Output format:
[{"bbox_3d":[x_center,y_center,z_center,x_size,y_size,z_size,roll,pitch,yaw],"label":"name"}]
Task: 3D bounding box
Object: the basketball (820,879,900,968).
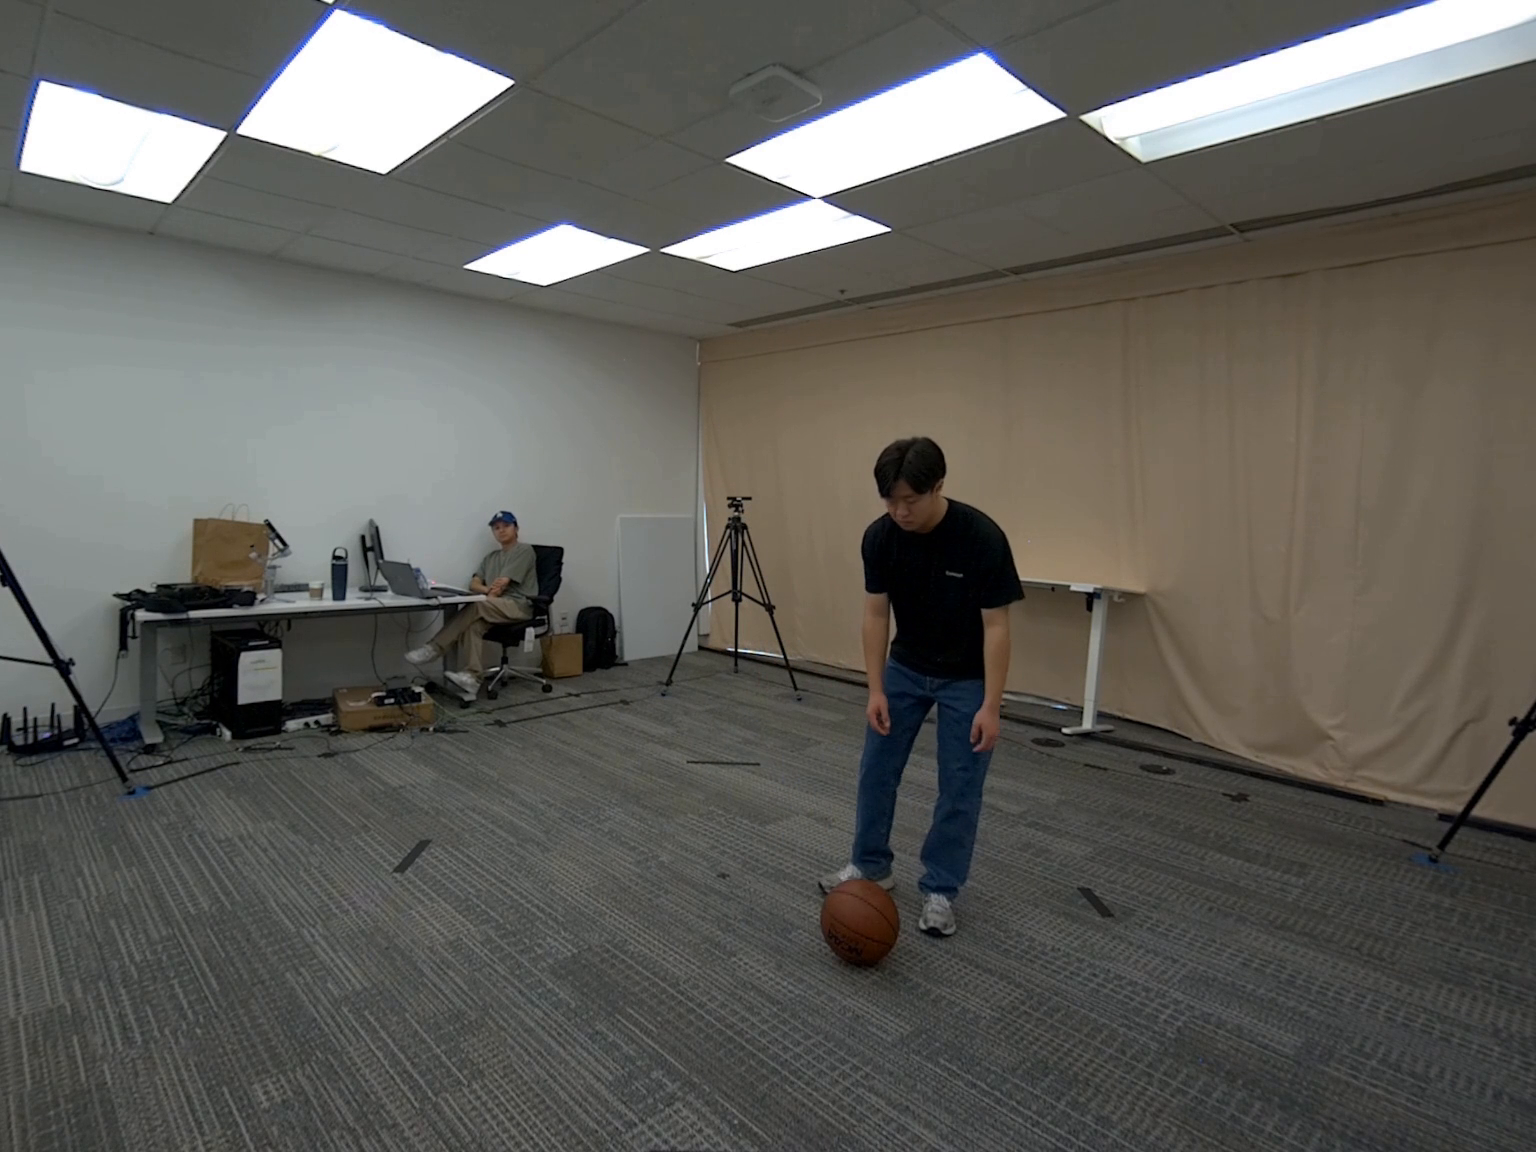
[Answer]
[{"bbox_3d":[0.275,1.050,2.557,0.236,0.235,0.237,1,4,-1],"label":"basketball"}]
